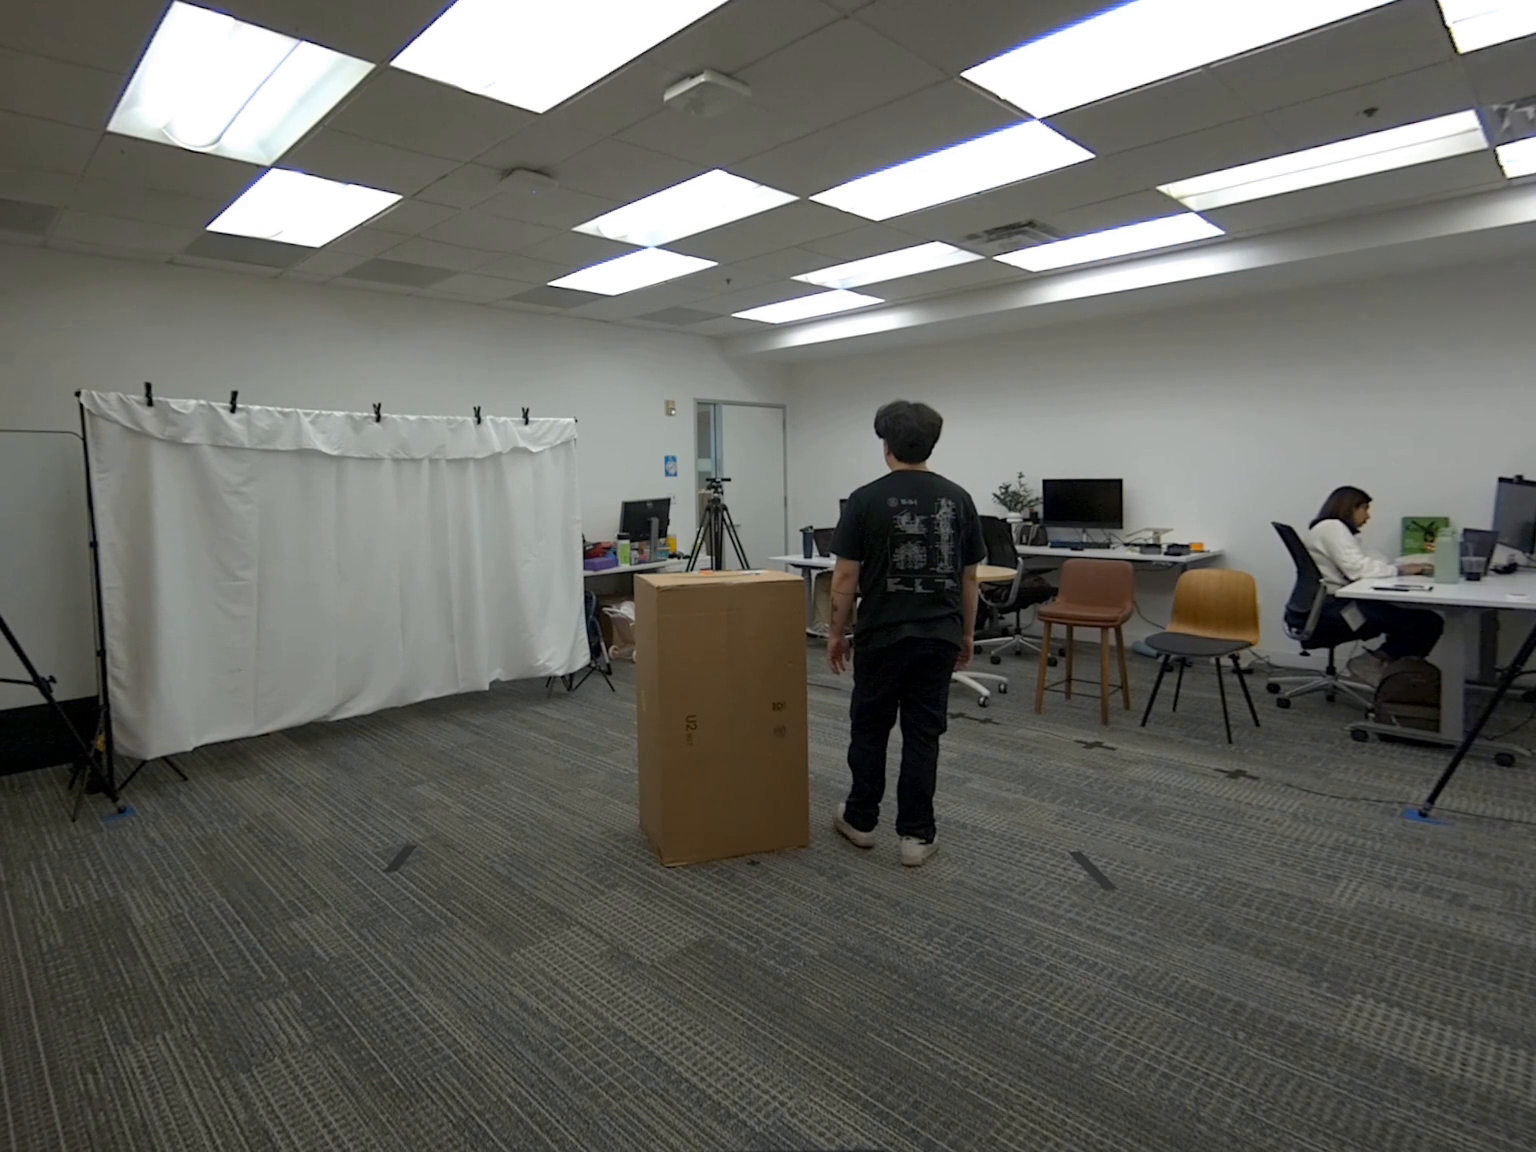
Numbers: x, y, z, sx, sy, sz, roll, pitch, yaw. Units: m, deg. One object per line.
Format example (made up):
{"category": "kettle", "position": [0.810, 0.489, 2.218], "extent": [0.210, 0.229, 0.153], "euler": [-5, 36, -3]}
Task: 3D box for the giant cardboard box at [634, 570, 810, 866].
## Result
{"category": "giant cardboard box", "position": [-0.191, 0.506, 3.333], "extent": [0.575, 1.024, 0.455], "euler": [-2, 3, -18]}
